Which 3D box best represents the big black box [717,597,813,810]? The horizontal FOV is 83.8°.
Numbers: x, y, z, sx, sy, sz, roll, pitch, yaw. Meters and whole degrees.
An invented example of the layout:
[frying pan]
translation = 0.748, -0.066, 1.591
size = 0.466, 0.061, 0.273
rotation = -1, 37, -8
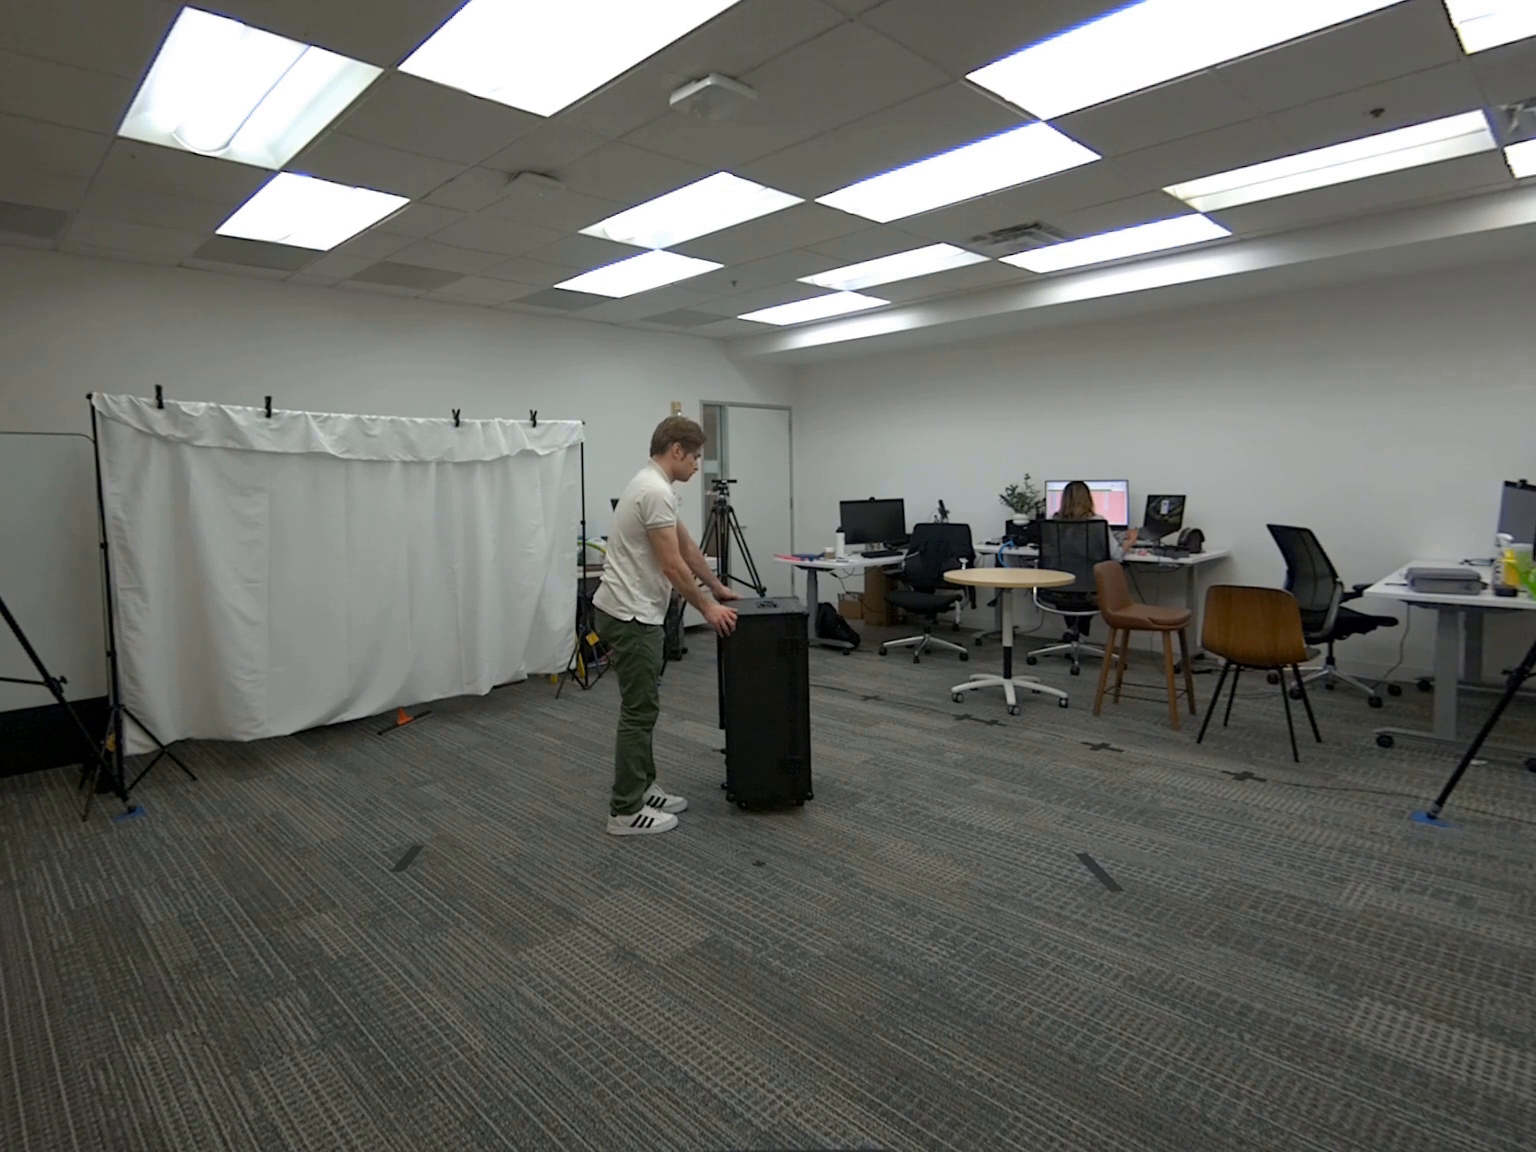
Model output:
[big black box]
translation = -0.025, 0.549, 3.750
size = 0.396, 0.858, 0.523
rotation = -2, 5, -1
